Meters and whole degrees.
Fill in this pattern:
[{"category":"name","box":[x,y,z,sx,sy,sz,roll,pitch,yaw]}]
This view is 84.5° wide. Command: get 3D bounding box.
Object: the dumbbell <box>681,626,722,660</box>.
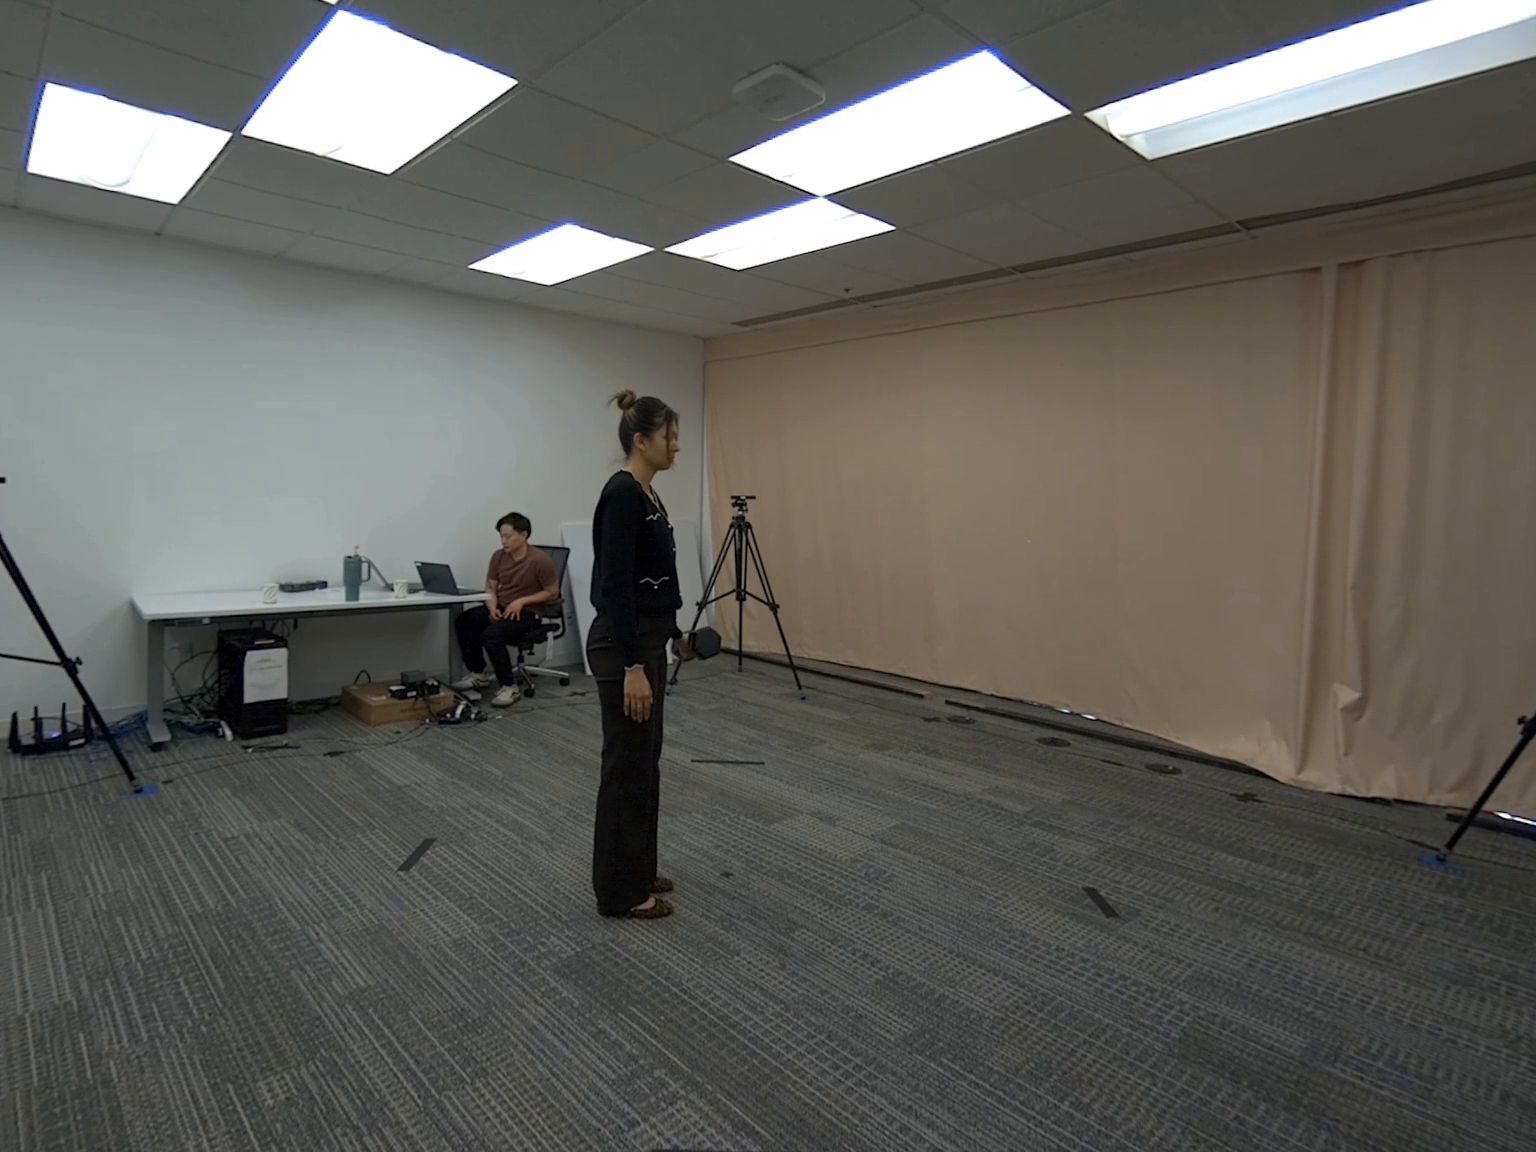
[{"category":"dumbbell","box":[-0.268,0.241,3.092,0.122,0.109,0.296,40,-17,-10]}]
